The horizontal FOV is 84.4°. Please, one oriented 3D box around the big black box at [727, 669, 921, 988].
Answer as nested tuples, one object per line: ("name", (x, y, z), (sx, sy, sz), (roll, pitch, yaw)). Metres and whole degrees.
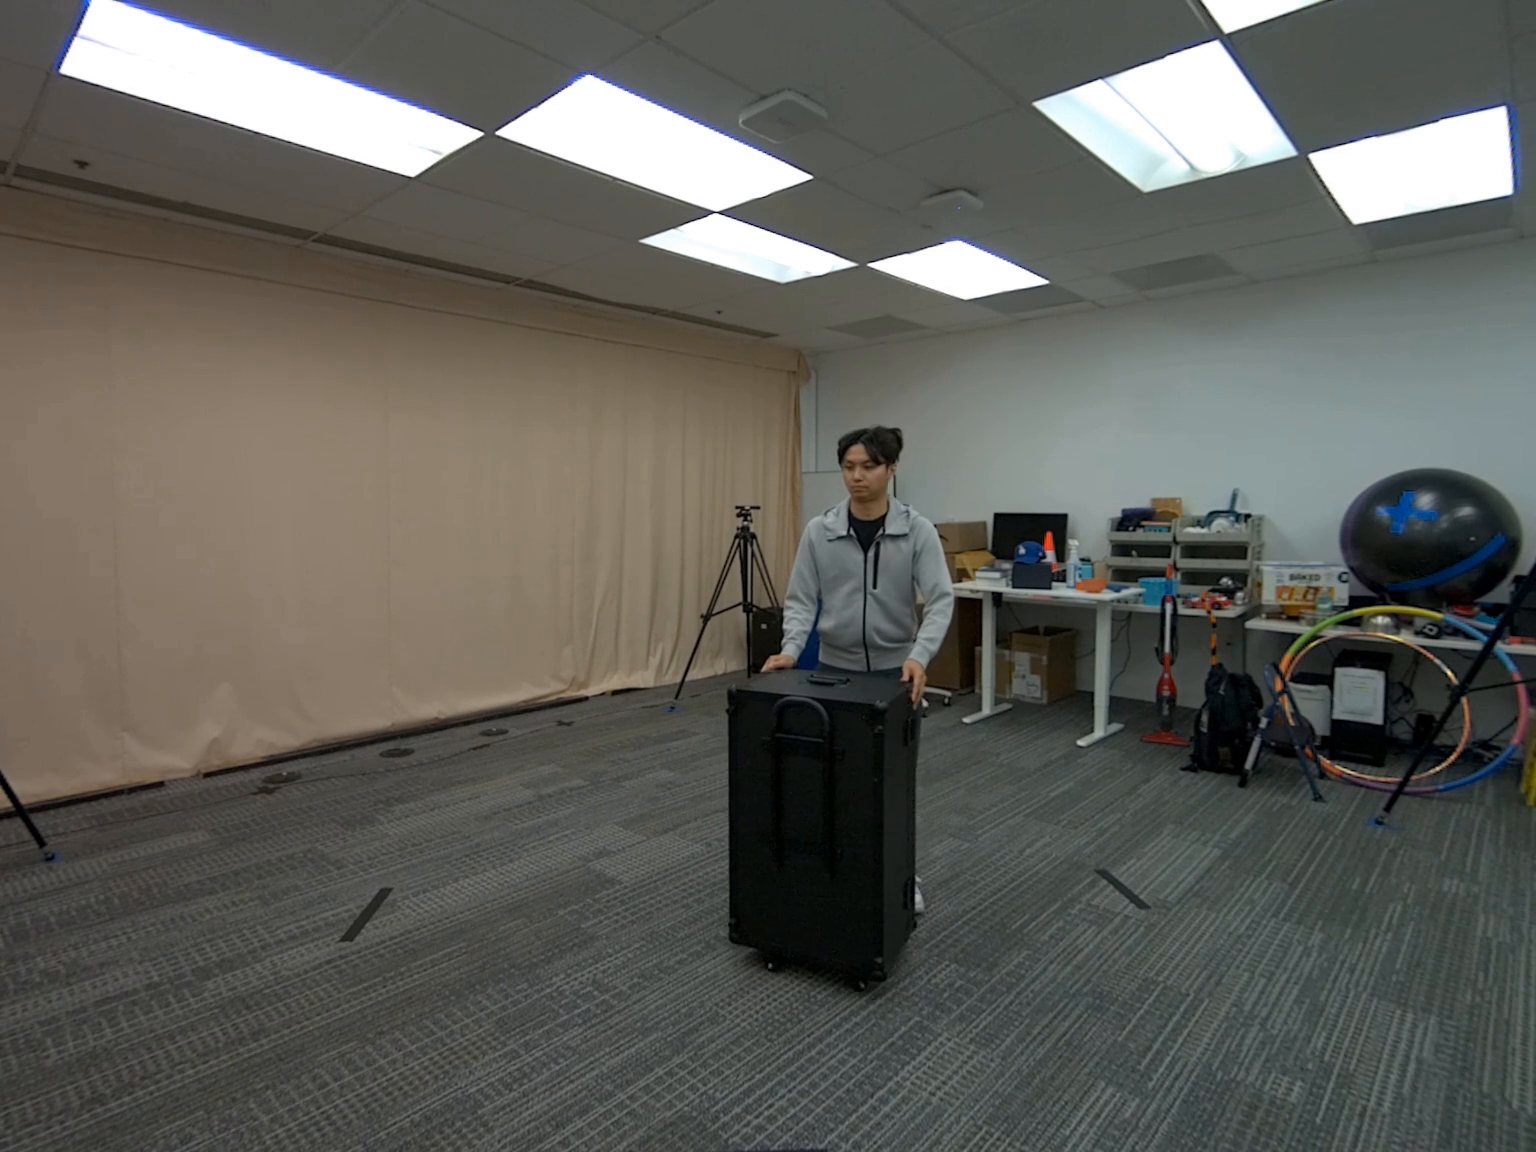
("big black box", (0.167, 0.756, 2.563), (0.535, 0.859, 0.387), (2, 4, 27))
